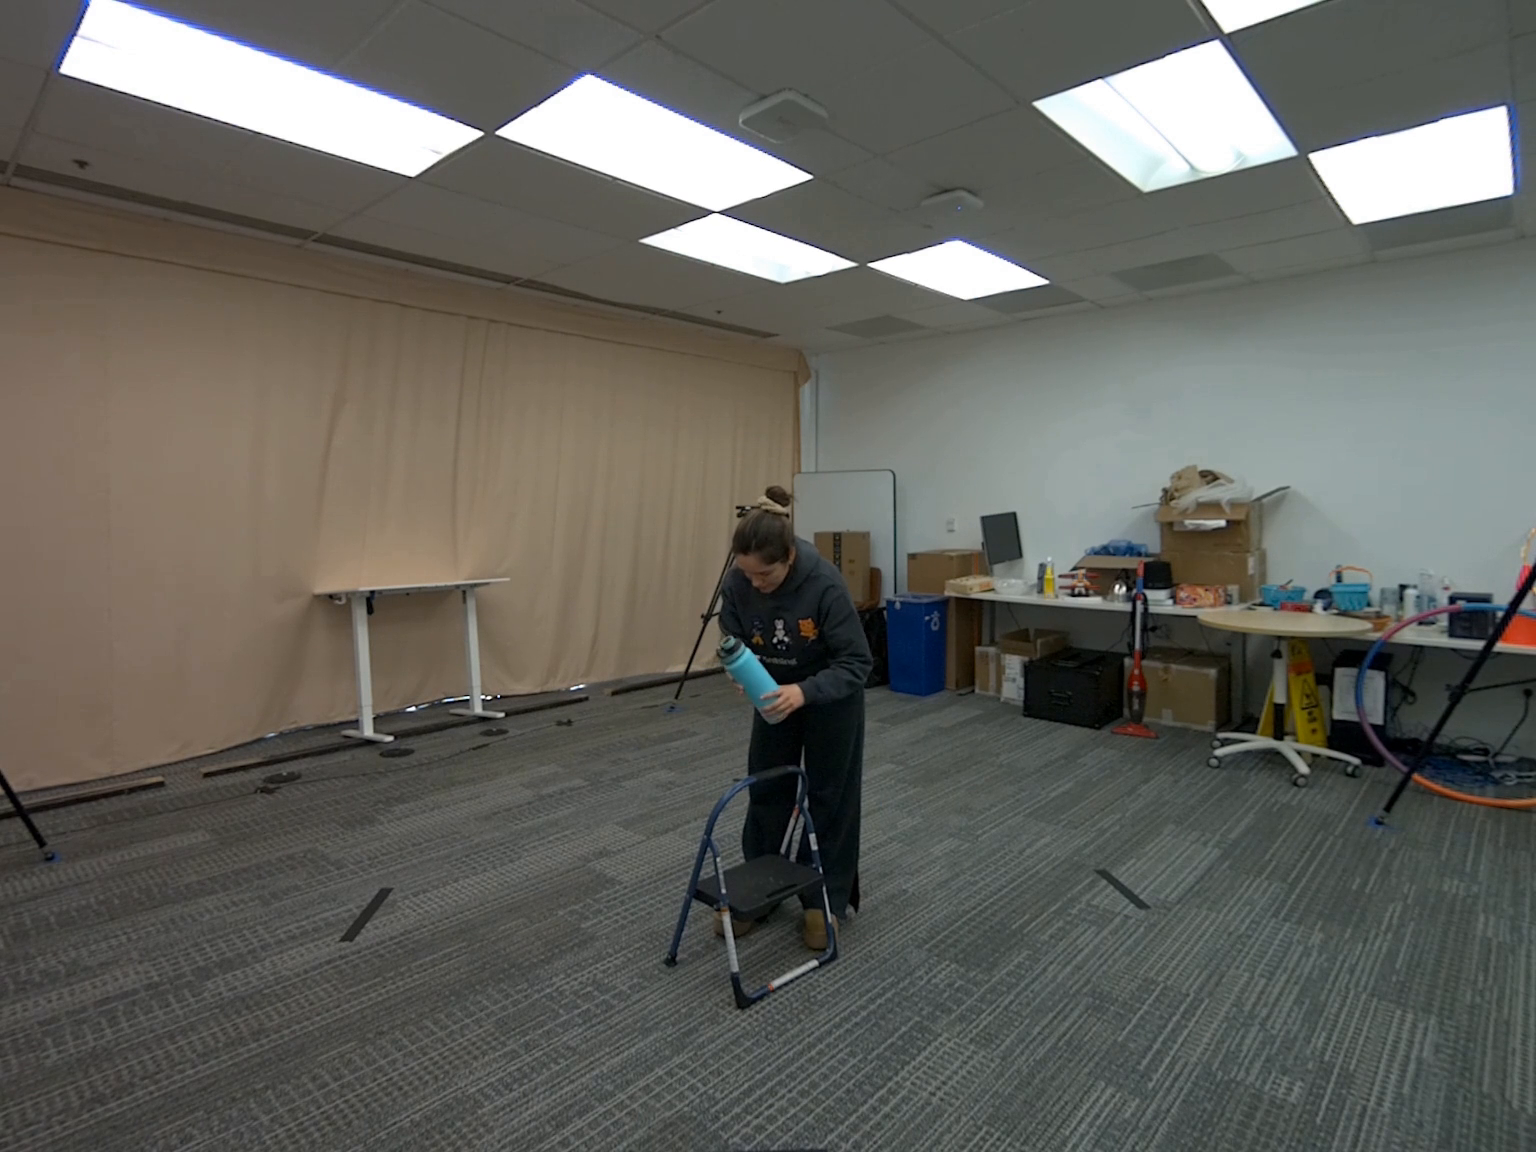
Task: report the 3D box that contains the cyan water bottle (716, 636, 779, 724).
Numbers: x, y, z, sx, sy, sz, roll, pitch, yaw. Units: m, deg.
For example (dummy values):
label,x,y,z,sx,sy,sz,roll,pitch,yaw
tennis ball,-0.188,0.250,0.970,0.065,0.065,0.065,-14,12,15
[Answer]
label,x,y,z,sx,sy,sz,roll,pitch,yaw
cyan water bottle,-0.036,0.301,2.402,0.093,0.277,0.093,-35,19,13
